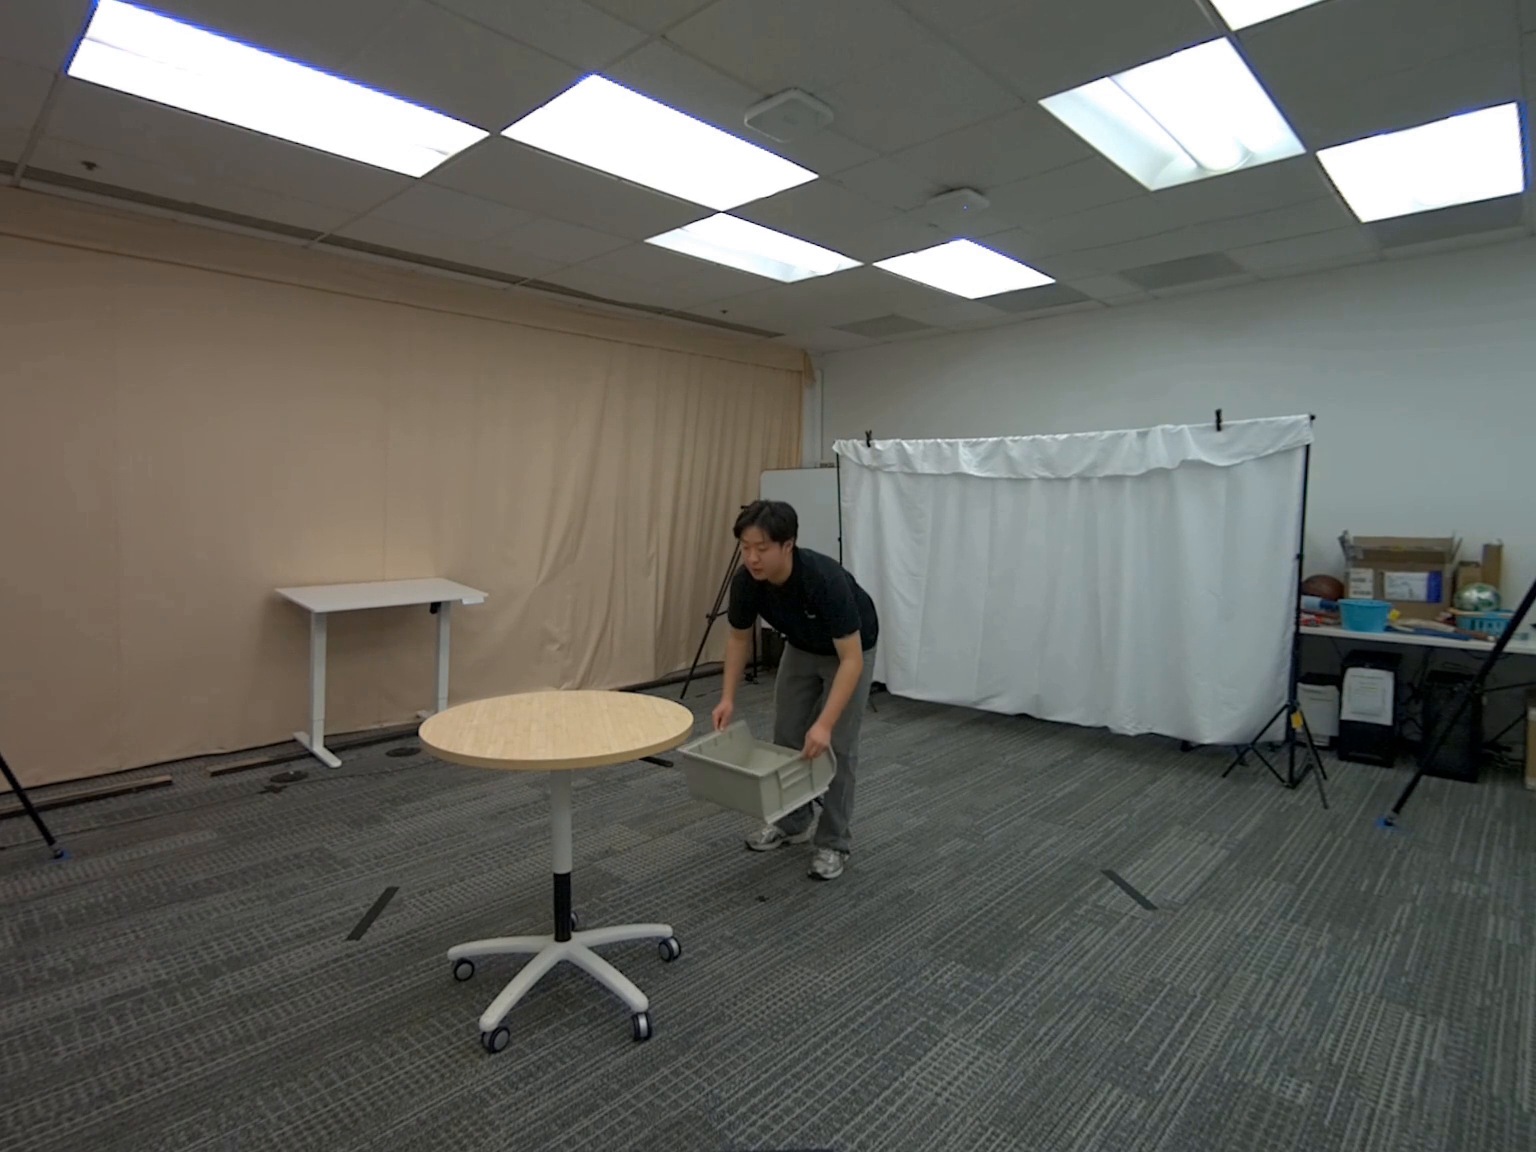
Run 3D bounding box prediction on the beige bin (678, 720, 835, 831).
[{"bbox_3d":[-0.039,0.686,2.994,0.436,0.187,0.368,5,16,45],"label":"beige bin"}]
